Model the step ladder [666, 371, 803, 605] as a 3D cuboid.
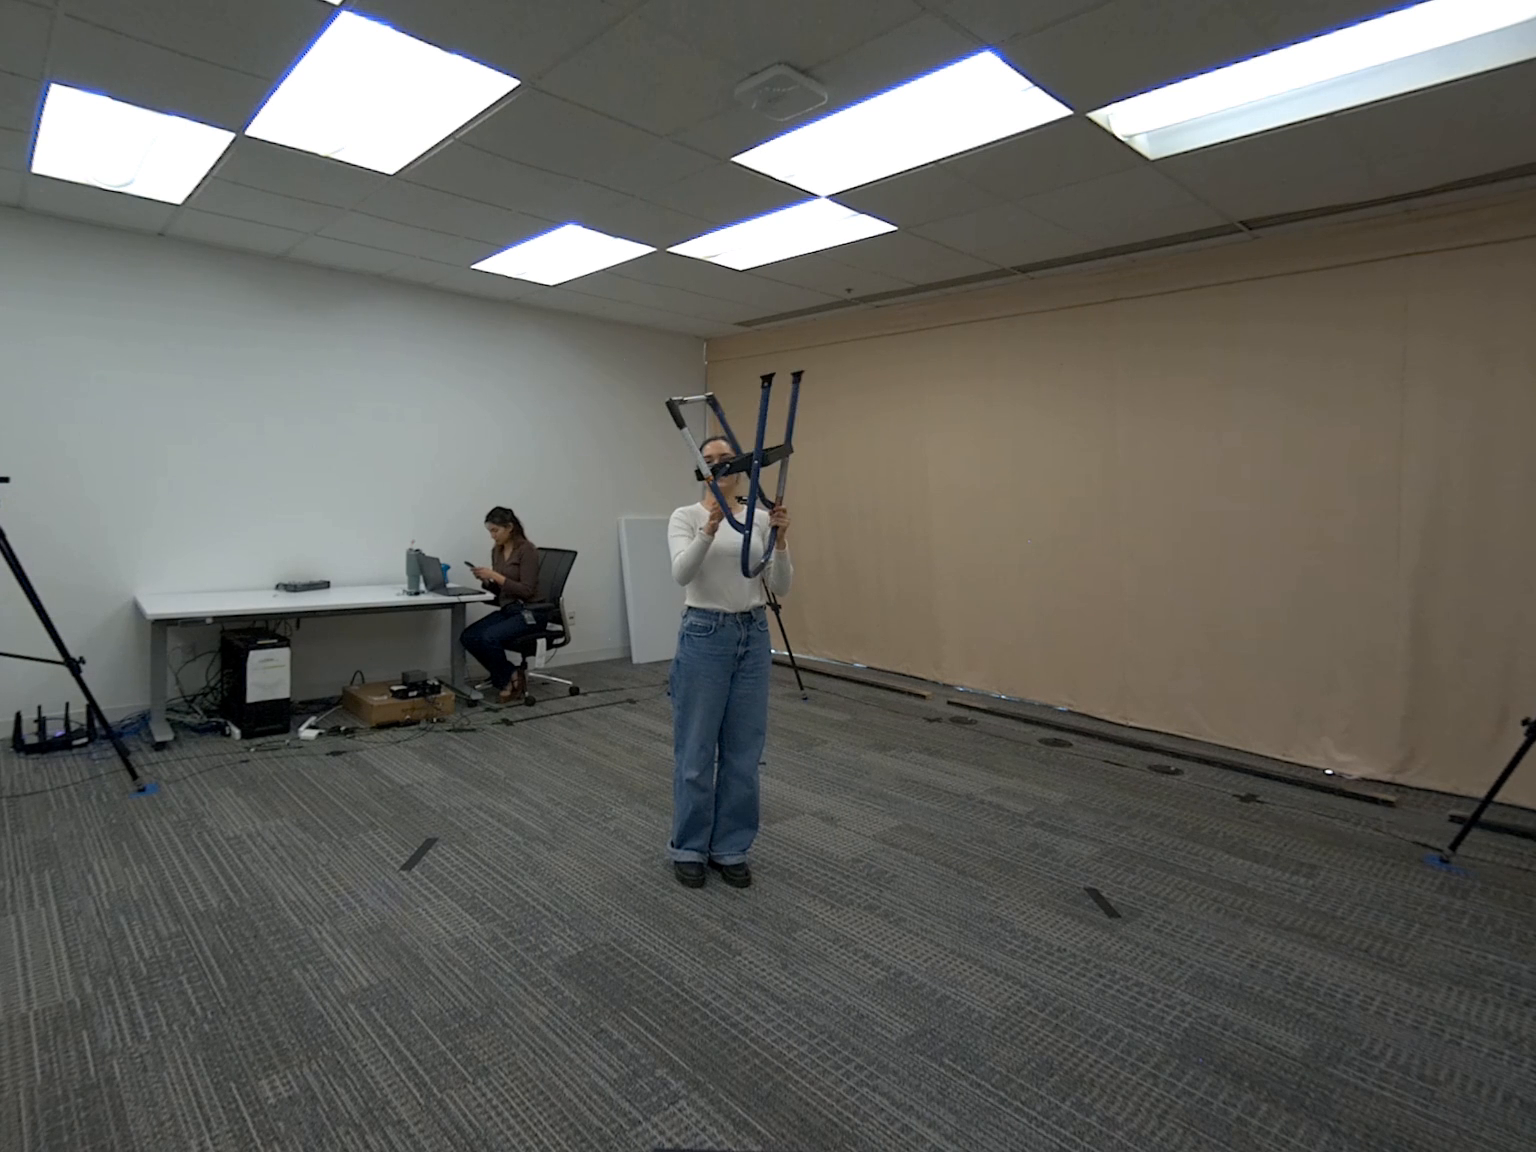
[{"bbox_3d":[-0.045,-0.306,2.672,0.353,0.601,0.429,-10,9,18],"label":"step ladder"}]
